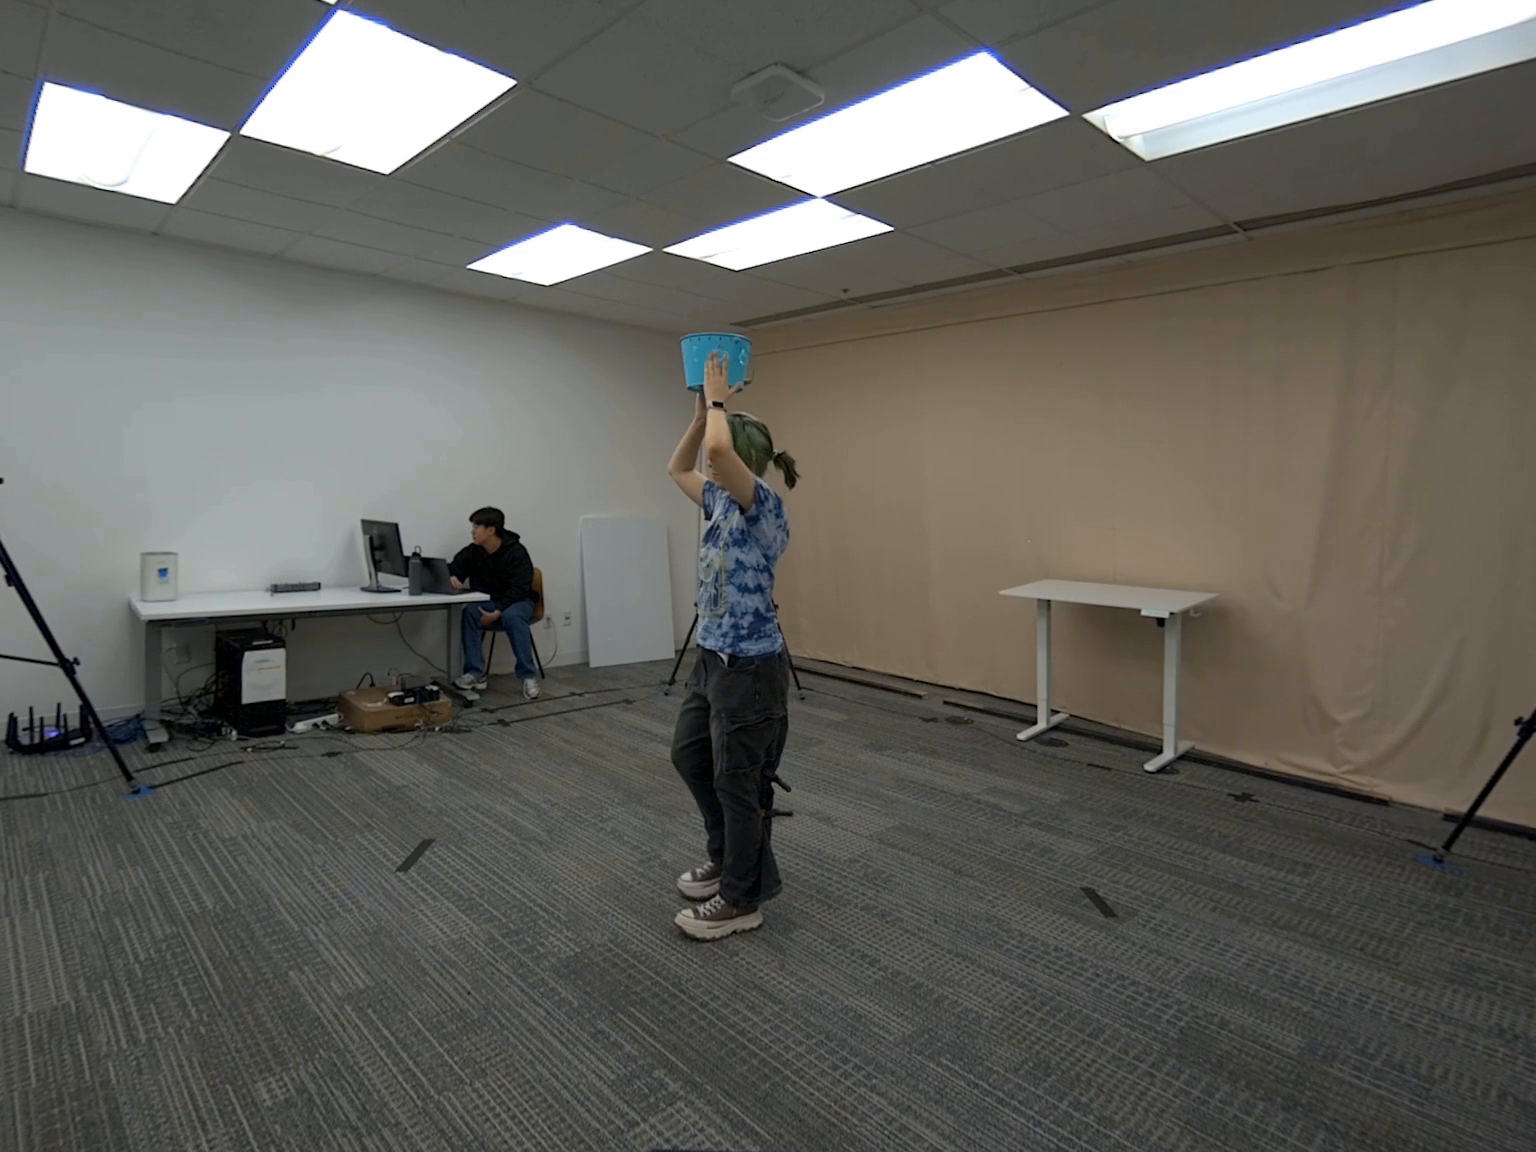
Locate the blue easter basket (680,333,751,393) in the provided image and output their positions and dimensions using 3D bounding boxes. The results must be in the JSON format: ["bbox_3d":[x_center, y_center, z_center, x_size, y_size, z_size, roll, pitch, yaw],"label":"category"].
[{"bbox_3d":[-0.167,-0.674,2.678,0.243,0.155,0.244,1,3,-1],"label":"blue easter basket"}]
